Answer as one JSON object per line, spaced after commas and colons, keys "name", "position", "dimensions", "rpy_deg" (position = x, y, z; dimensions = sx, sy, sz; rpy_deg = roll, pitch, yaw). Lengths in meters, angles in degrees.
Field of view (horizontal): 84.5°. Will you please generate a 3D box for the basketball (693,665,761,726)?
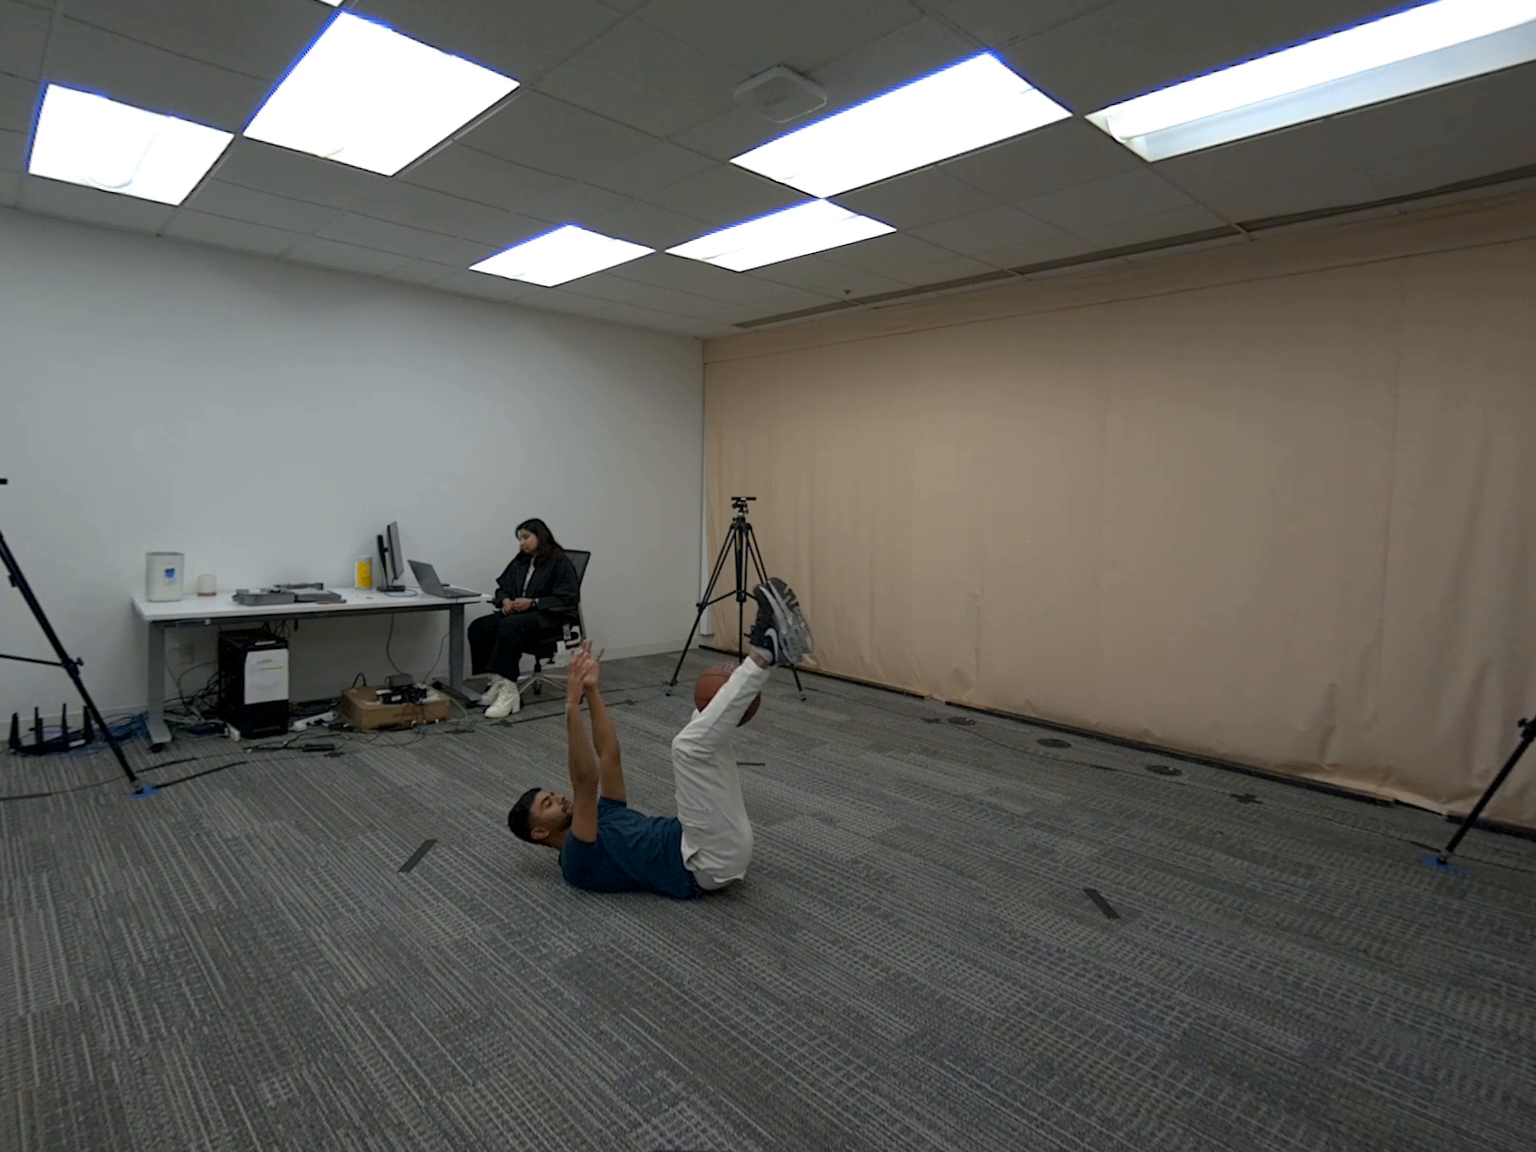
{"name": "basketball", "position": [-0.138, 0.428, 2.984], "dimensions": [0.236, 0.235, 0.237], "rpy_deg": [1, 4, -1]}
